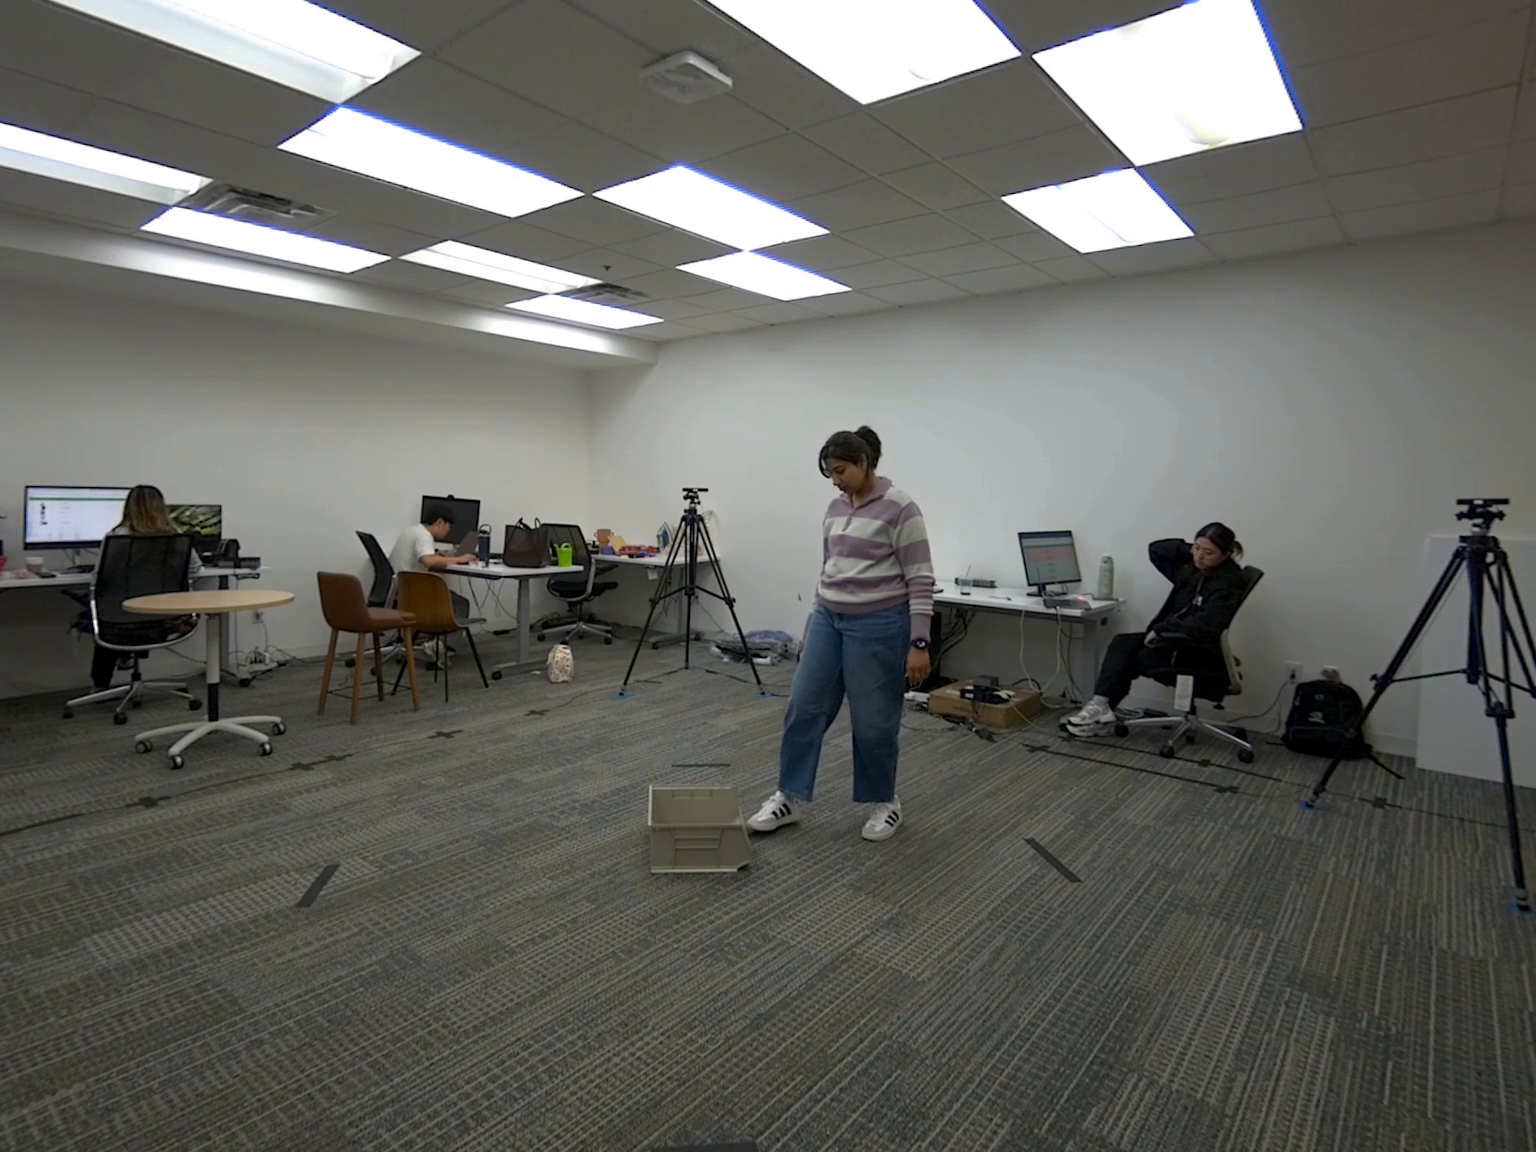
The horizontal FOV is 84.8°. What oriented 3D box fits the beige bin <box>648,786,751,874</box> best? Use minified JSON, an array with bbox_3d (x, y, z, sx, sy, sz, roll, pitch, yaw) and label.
[{"bbox_3d":[-0.281,0.962,3.277,0.375,0.188,0.427,0,6,-7],"label":"beige bin"}]
